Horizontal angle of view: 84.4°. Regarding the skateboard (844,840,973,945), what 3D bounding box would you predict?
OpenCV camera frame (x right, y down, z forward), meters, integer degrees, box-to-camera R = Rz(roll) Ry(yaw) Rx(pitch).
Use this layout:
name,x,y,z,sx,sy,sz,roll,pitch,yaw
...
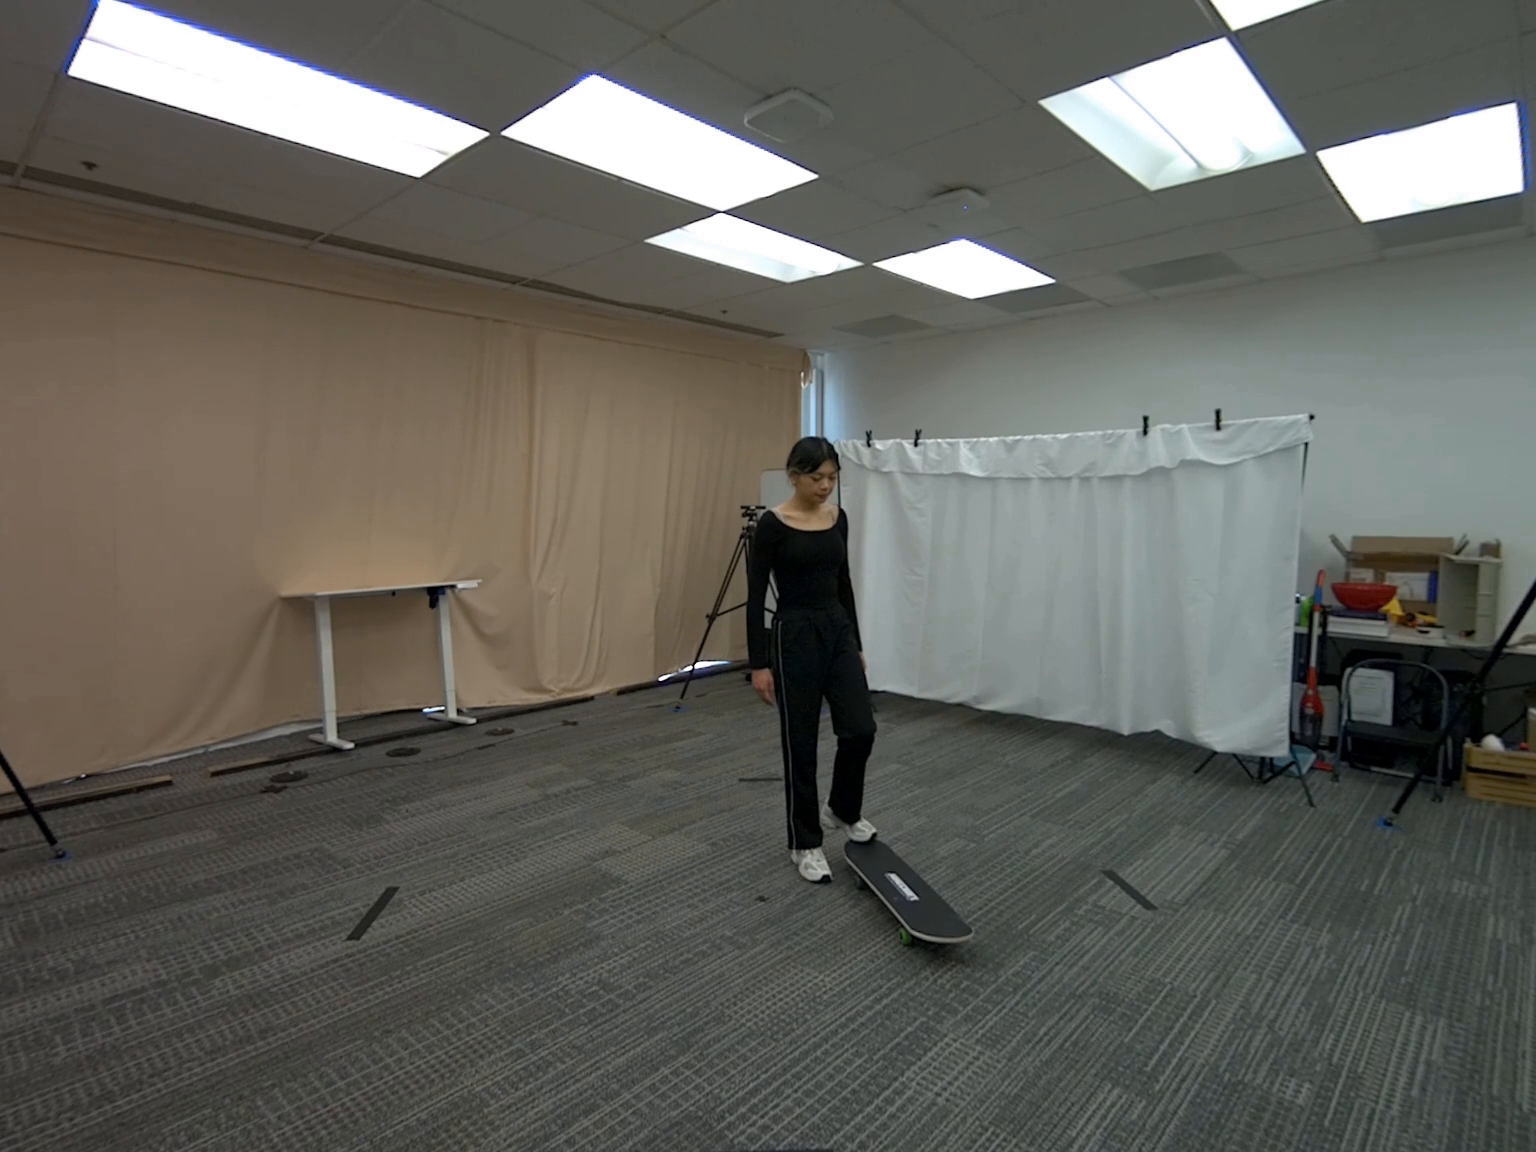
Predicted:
name,x,y,z,sx,sy,sz,roll,pitch,yaw
skateboard,0.465,1.093,2.881,0.191,0.110,0.798,-3,5,-14
